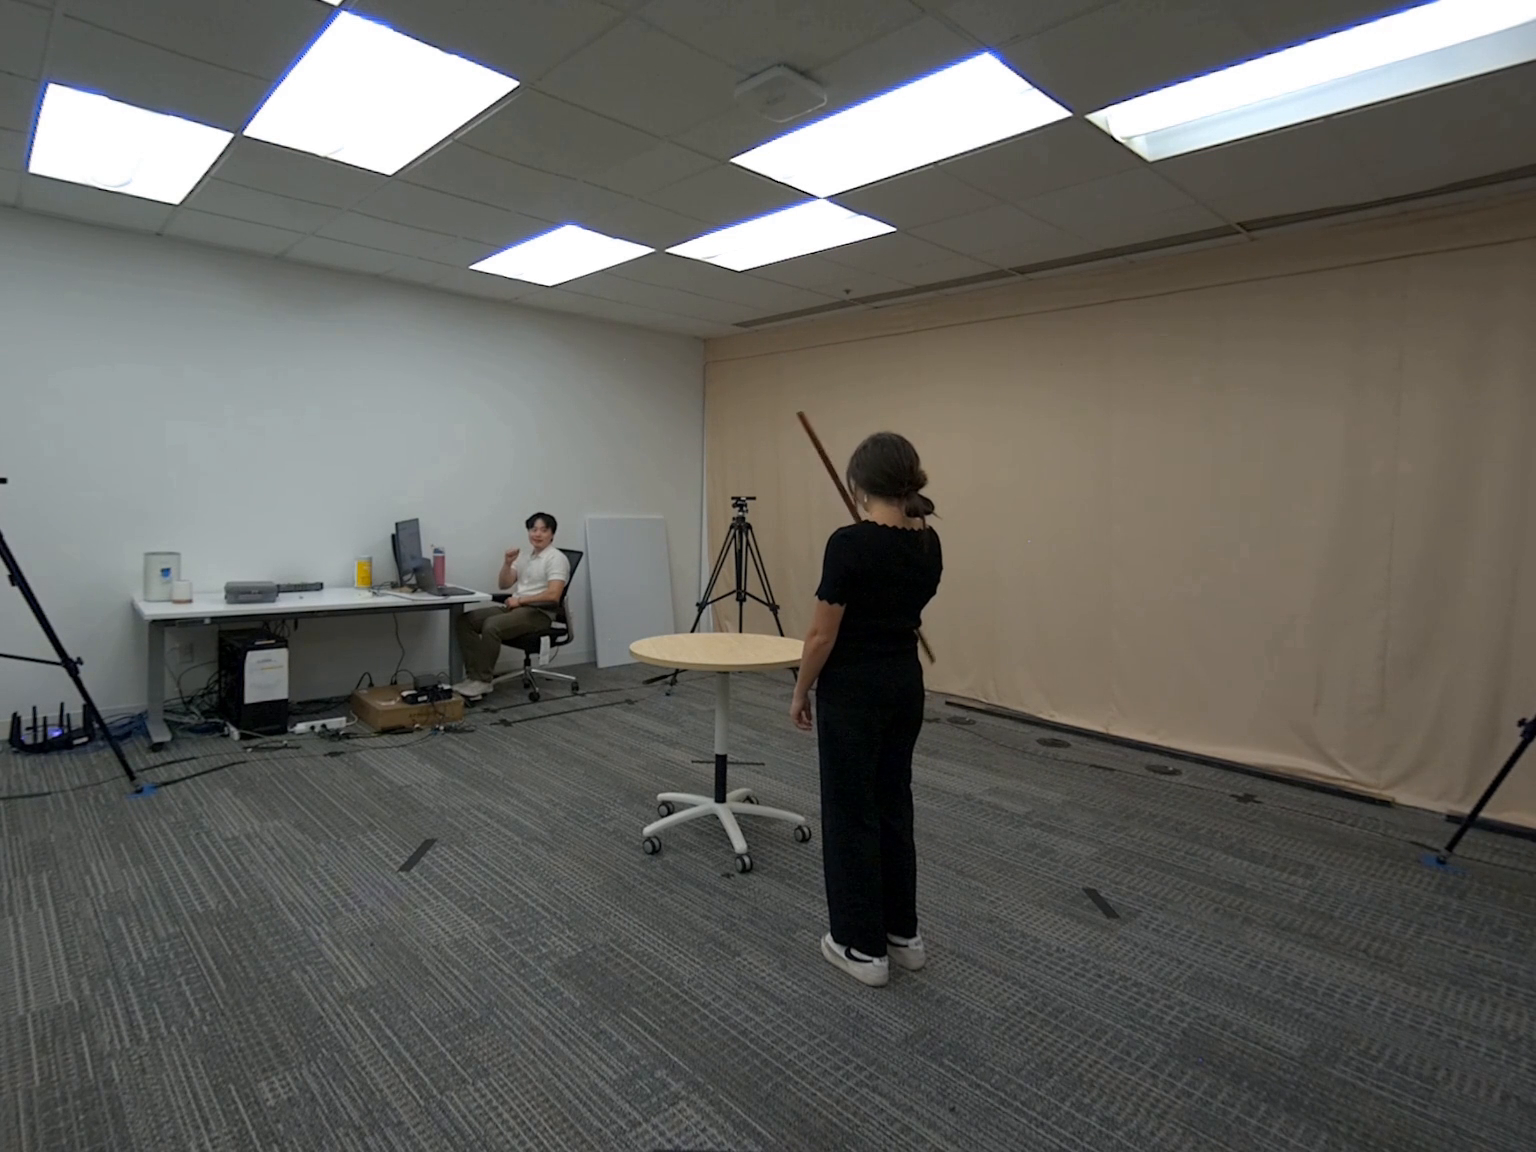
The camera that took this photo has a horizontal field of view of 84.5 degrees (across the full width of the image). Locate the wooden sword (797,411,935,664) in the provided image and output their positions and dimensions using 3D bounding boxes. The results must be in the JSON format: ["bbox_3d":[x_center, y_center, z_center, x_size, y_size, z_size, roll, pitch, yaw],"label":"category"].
[{"bbox_3d":[0.345,-0.137,2.944,0.051,1.022,0.024,-29,3,-12],"label":"wooden sword"}]
